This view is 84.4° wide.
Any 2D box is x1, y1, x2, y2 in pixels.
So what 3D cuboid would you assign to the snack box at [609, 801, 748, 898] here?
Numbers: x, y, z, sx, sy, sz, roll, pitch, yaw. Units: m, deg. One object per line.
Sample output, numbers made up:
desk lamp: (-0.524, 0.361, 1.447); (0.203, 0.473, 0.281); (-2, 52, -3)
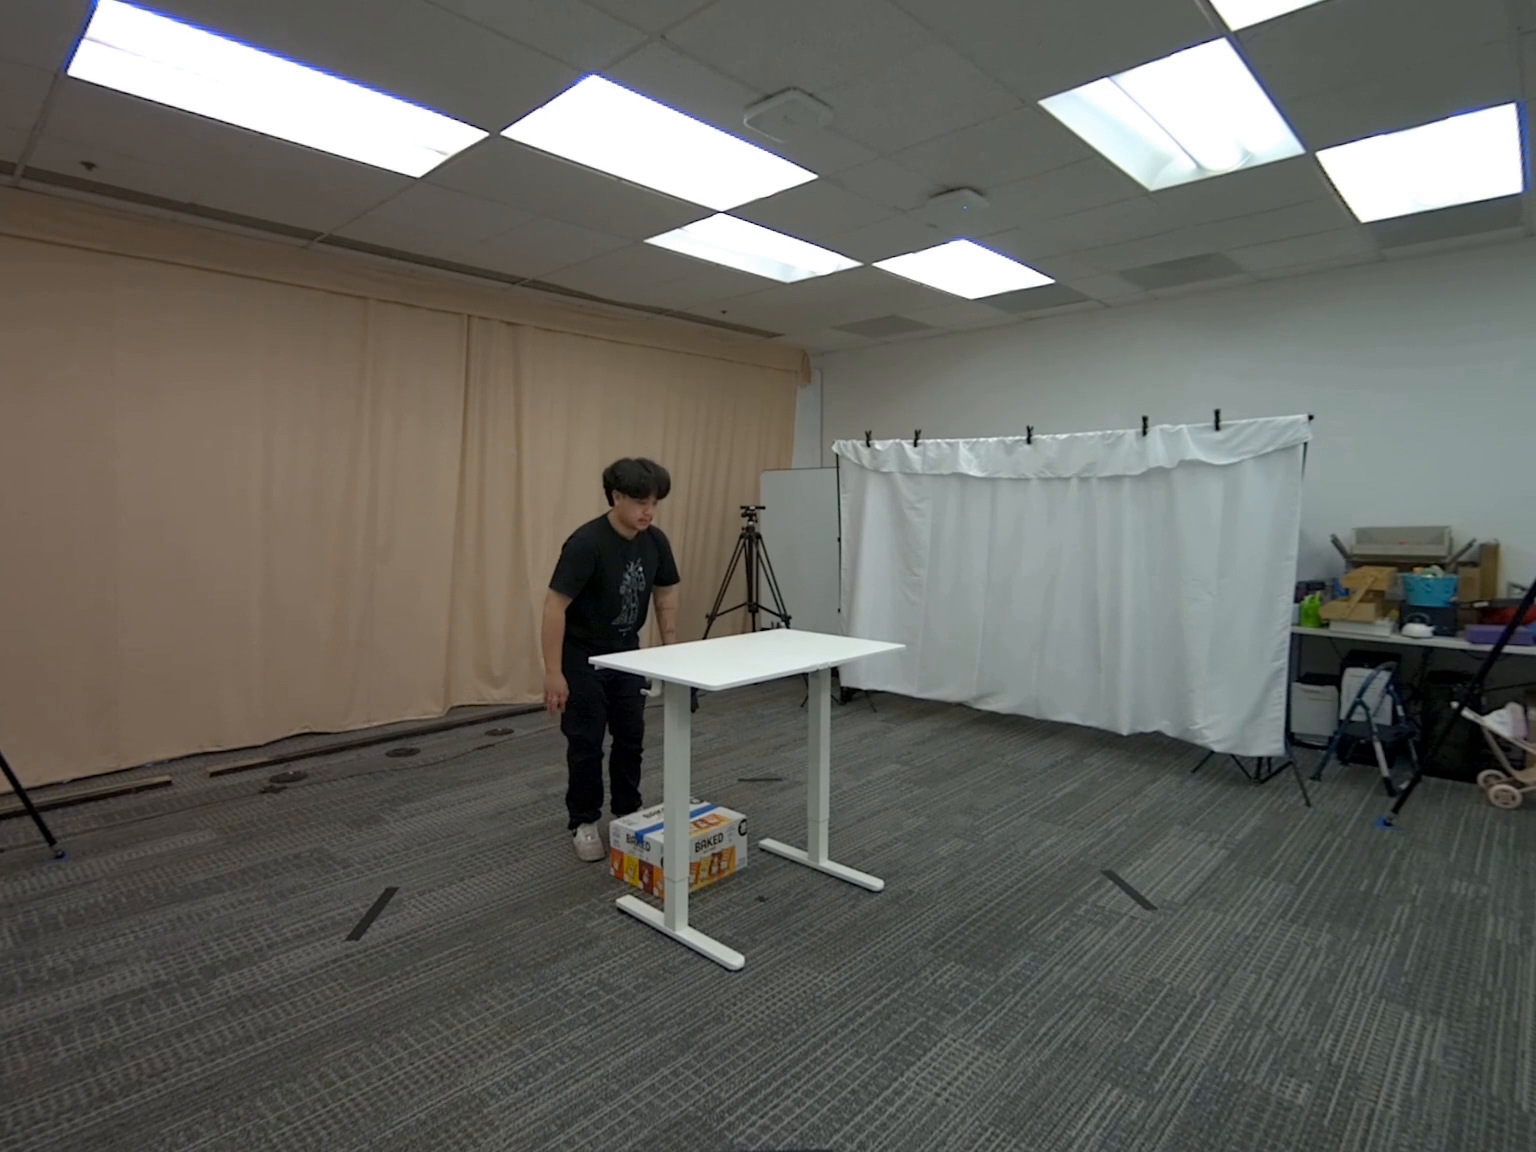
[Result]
snack box: (-0.339, 1.028, 3.209); (0.352, 0.205, 0.393); (4, 7, 43)
